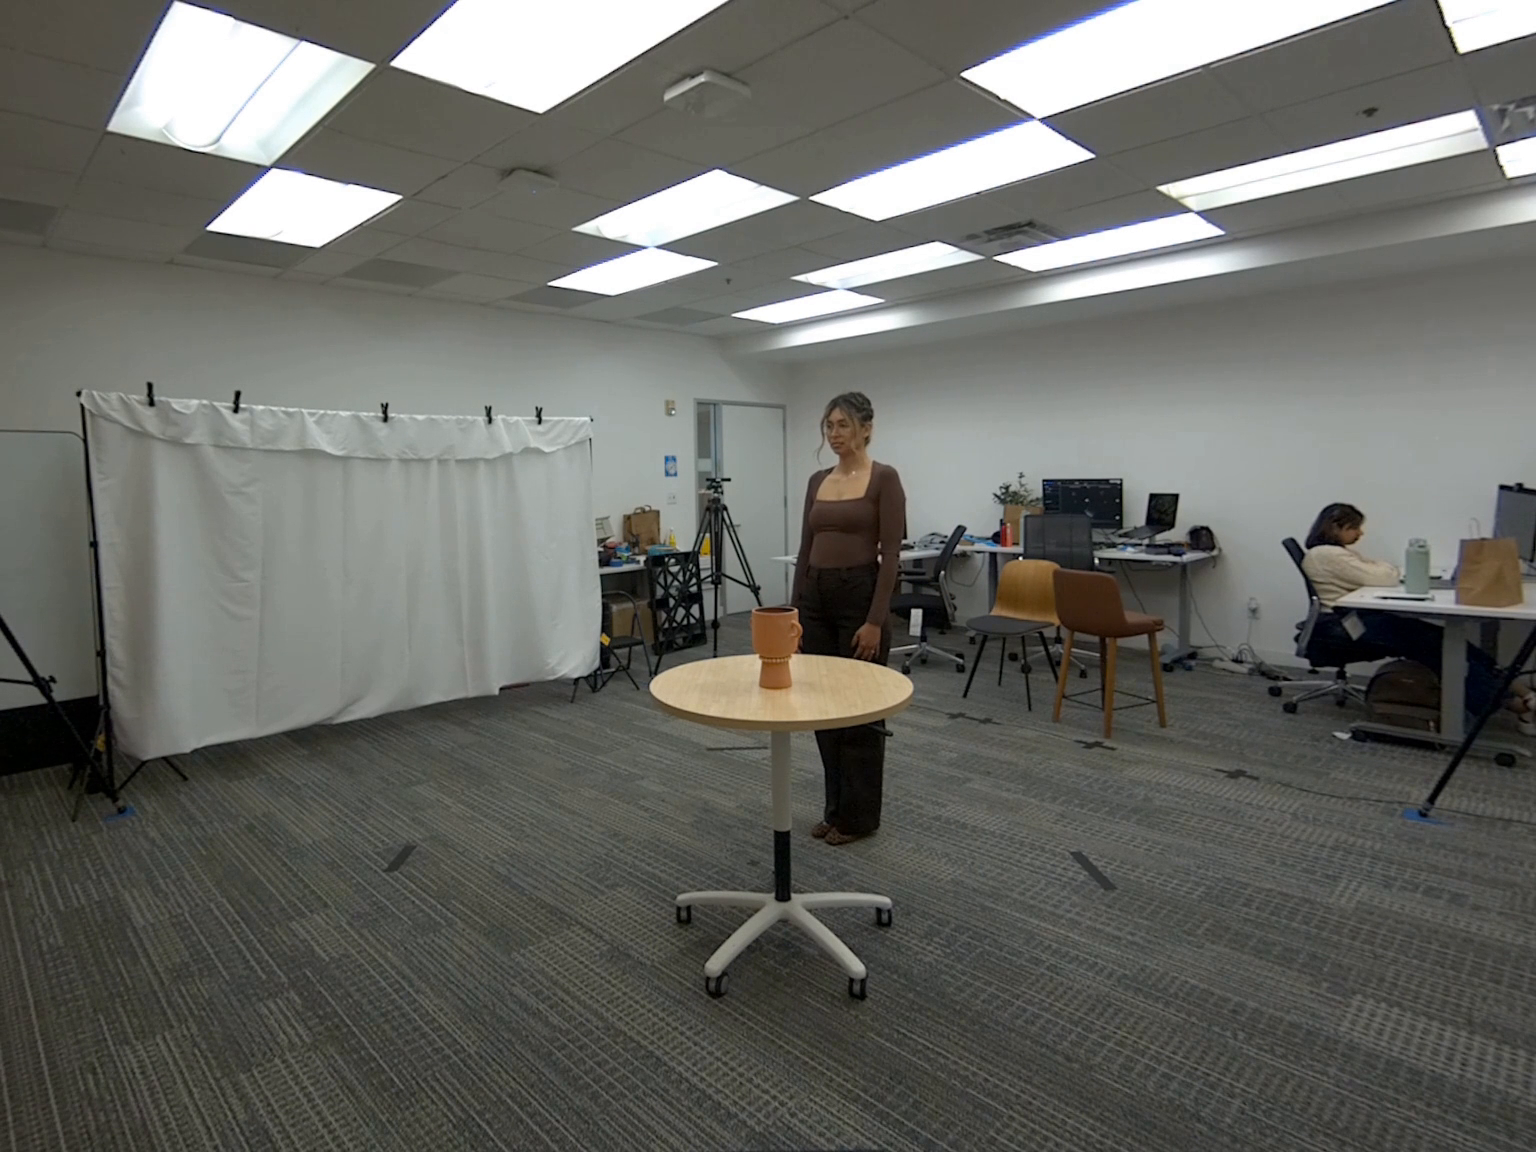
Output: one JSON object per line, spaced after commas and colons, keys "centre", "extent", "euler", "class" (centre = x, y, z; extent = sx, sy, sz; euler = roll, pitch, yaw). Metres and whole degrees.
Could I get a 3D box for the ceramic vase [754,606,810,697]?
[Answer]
{"centre": [0.037, 0.211, 2.461], "extent": [0.134, 0.218, 0.160], "euler": [-2, 6, -6], "class": "ceramic vase"}
